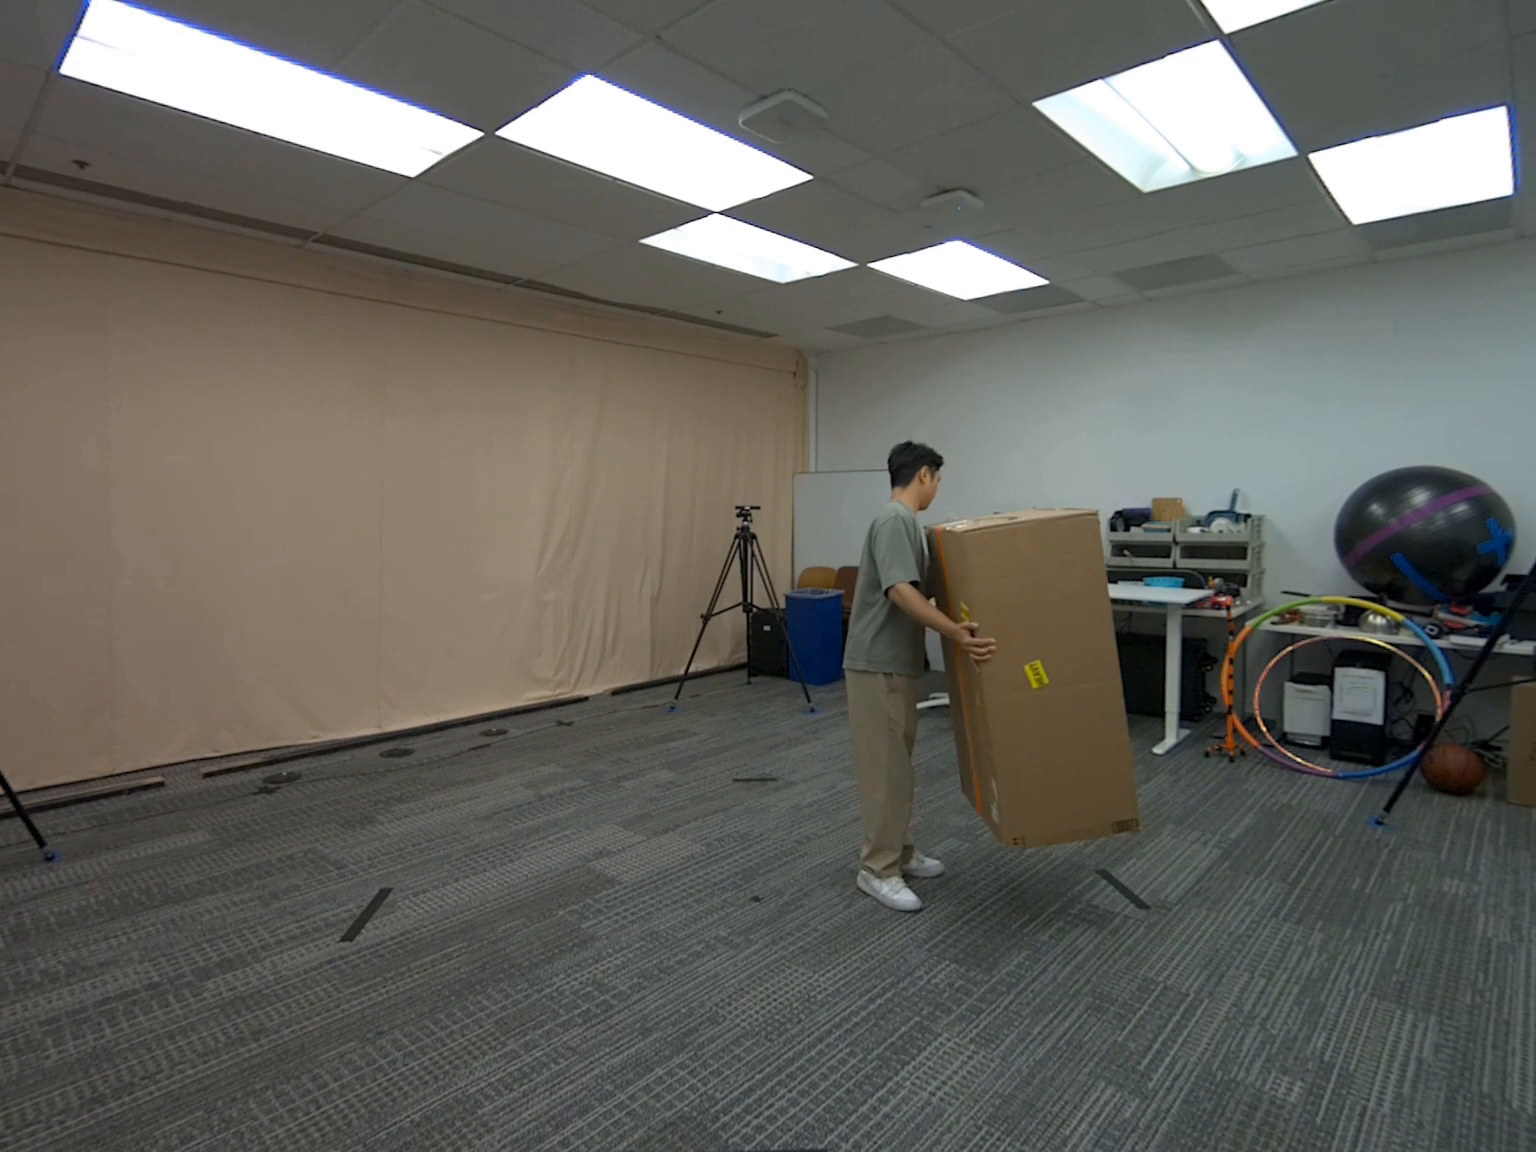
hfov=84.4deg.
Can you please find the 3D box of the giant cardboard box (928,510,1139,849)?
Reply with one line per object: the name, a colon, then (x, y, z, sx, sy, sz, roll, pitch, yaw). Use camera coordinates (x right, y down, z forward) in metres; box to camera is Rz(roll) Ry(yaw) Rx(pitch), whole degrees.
giant cardboard box: (0.882, 0.310, 2.892, 0.427, 1.023, 0.578, -9, 3, 0)
